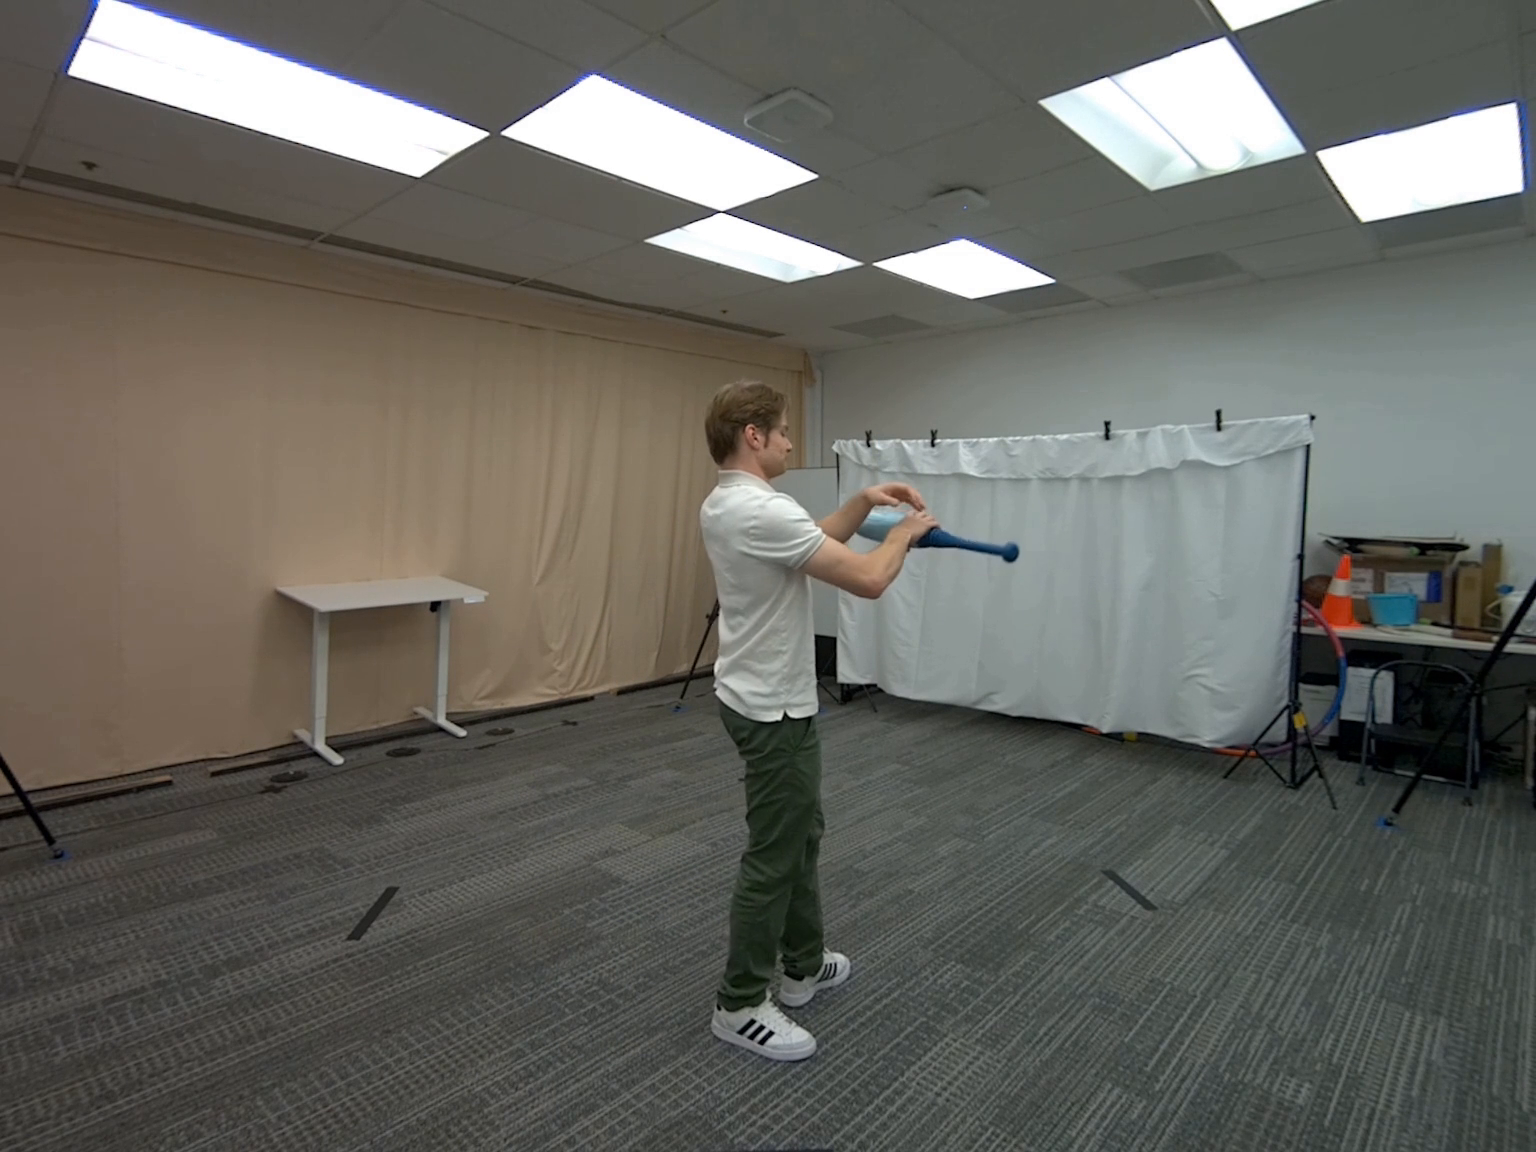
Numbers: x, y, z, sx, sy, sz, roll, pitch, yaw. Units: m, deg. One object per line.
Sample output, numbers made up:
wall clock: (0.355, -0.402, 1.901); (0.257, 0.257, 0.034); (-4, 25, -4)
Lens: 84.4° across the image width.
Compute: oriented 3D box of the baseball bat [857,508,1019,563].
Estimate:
baseball bat: (0.451, -0.100, 2.240); (0.086, 0.088, 0.562); (-3, 13, -35)
